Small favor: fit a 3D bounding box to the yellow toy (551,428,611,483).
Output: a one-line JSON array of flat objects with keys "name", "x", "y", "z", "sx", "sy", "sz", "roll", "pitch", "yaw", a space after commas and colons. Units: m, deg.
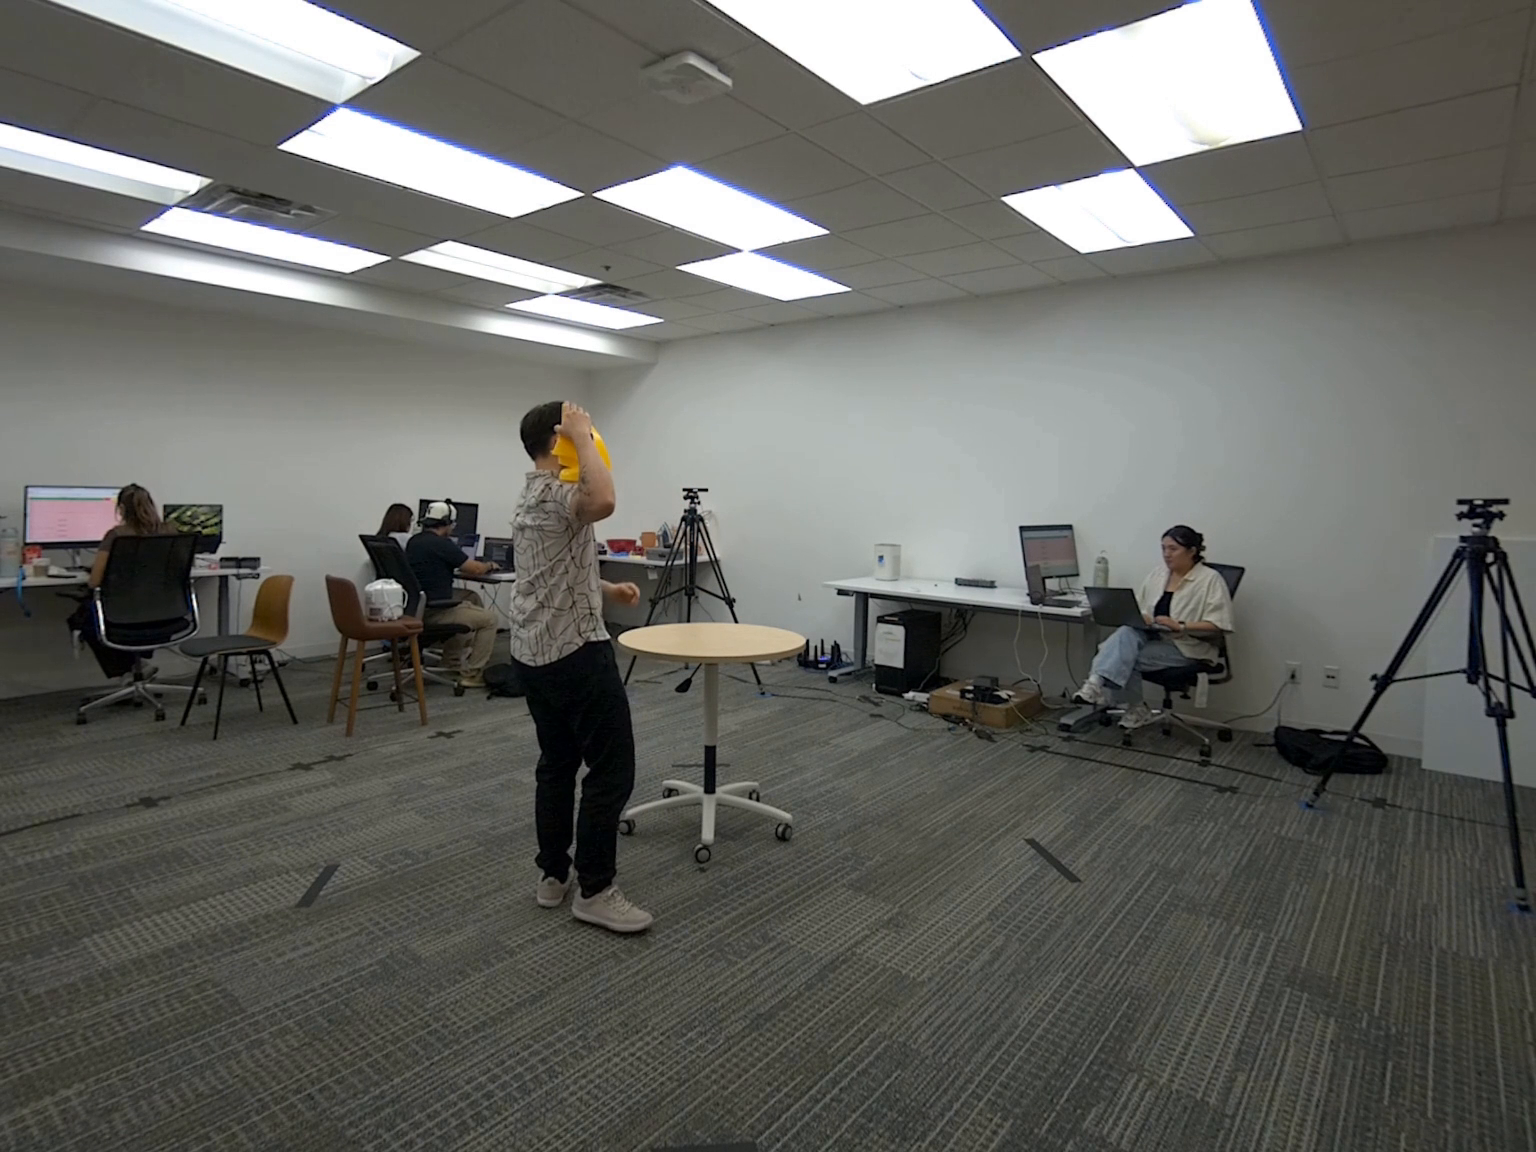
[{"name": "yellow toy", "x": -0.590, "y": -0.423, "z": 2.670, "sx": 0.191, "sy": 0.229, "sz": 0.209, "roll": 1, "pitch": 9, "yaw": -12}]
